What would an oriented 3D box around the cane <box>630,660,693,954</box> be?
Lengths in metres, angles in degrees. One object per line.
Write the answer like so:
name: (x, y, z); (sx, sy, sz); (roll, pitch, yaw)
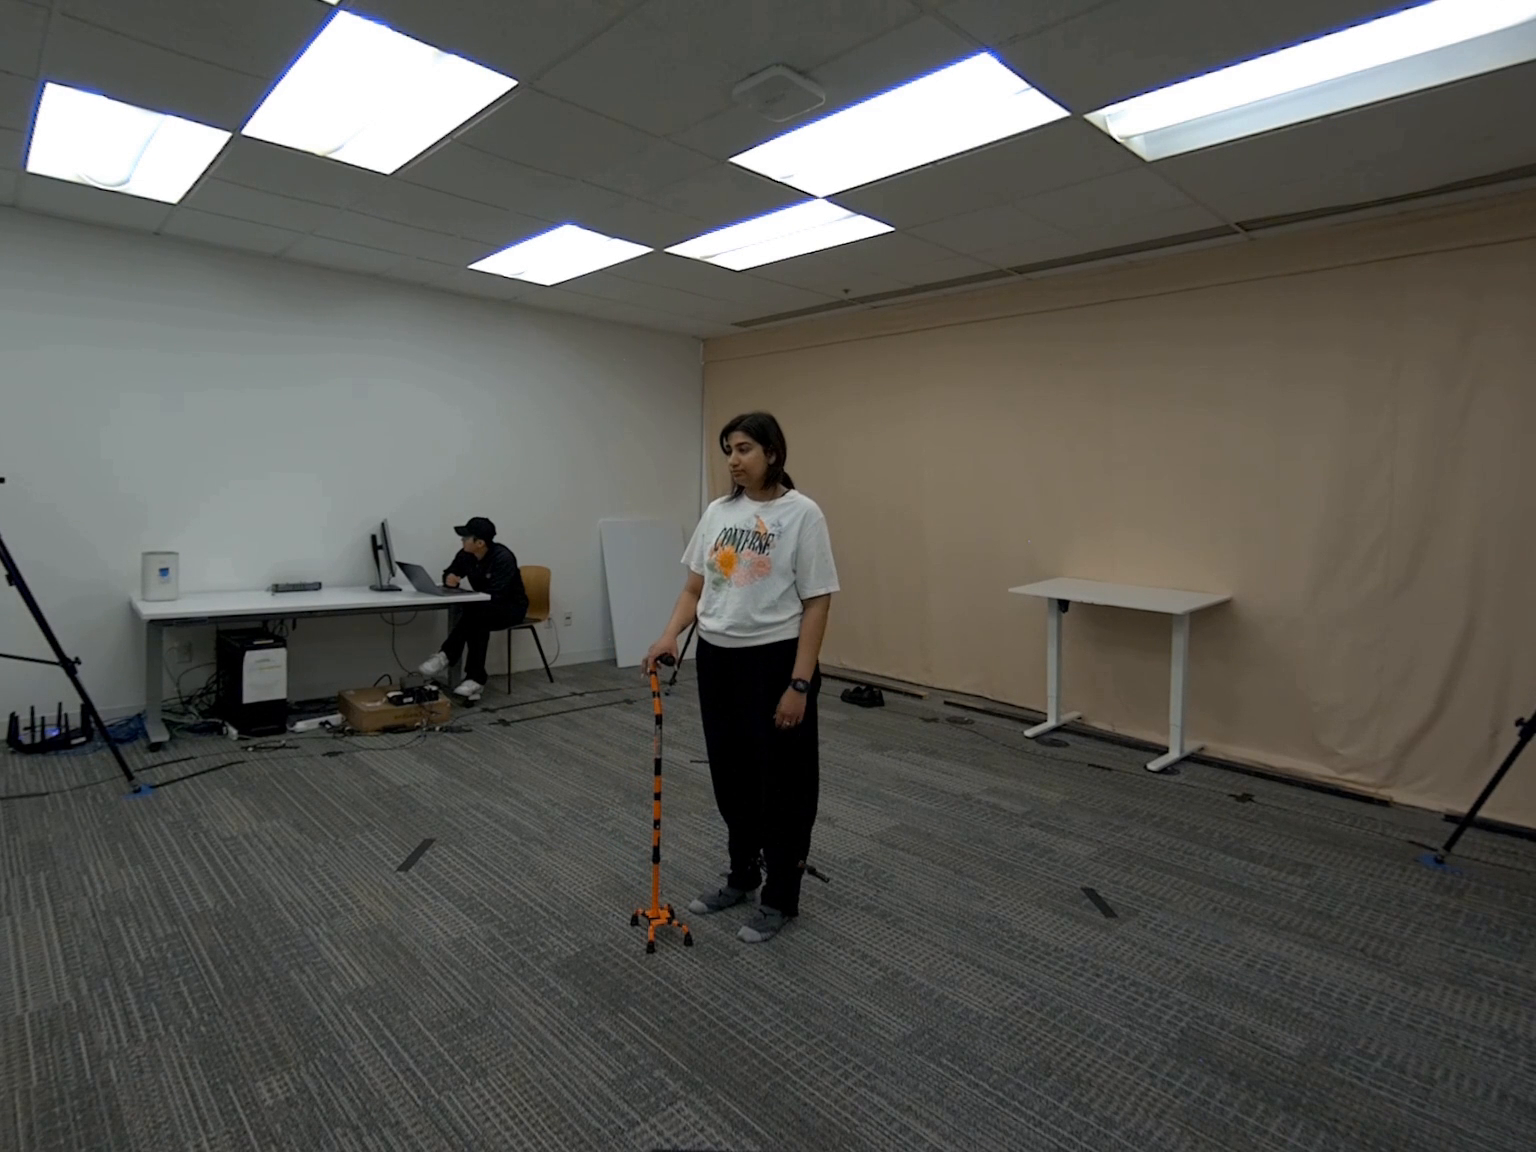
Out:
cane: (-0.345, 0.689, 2.645); (0.149, 0.905, 0.210); (-1, 4, -24)
